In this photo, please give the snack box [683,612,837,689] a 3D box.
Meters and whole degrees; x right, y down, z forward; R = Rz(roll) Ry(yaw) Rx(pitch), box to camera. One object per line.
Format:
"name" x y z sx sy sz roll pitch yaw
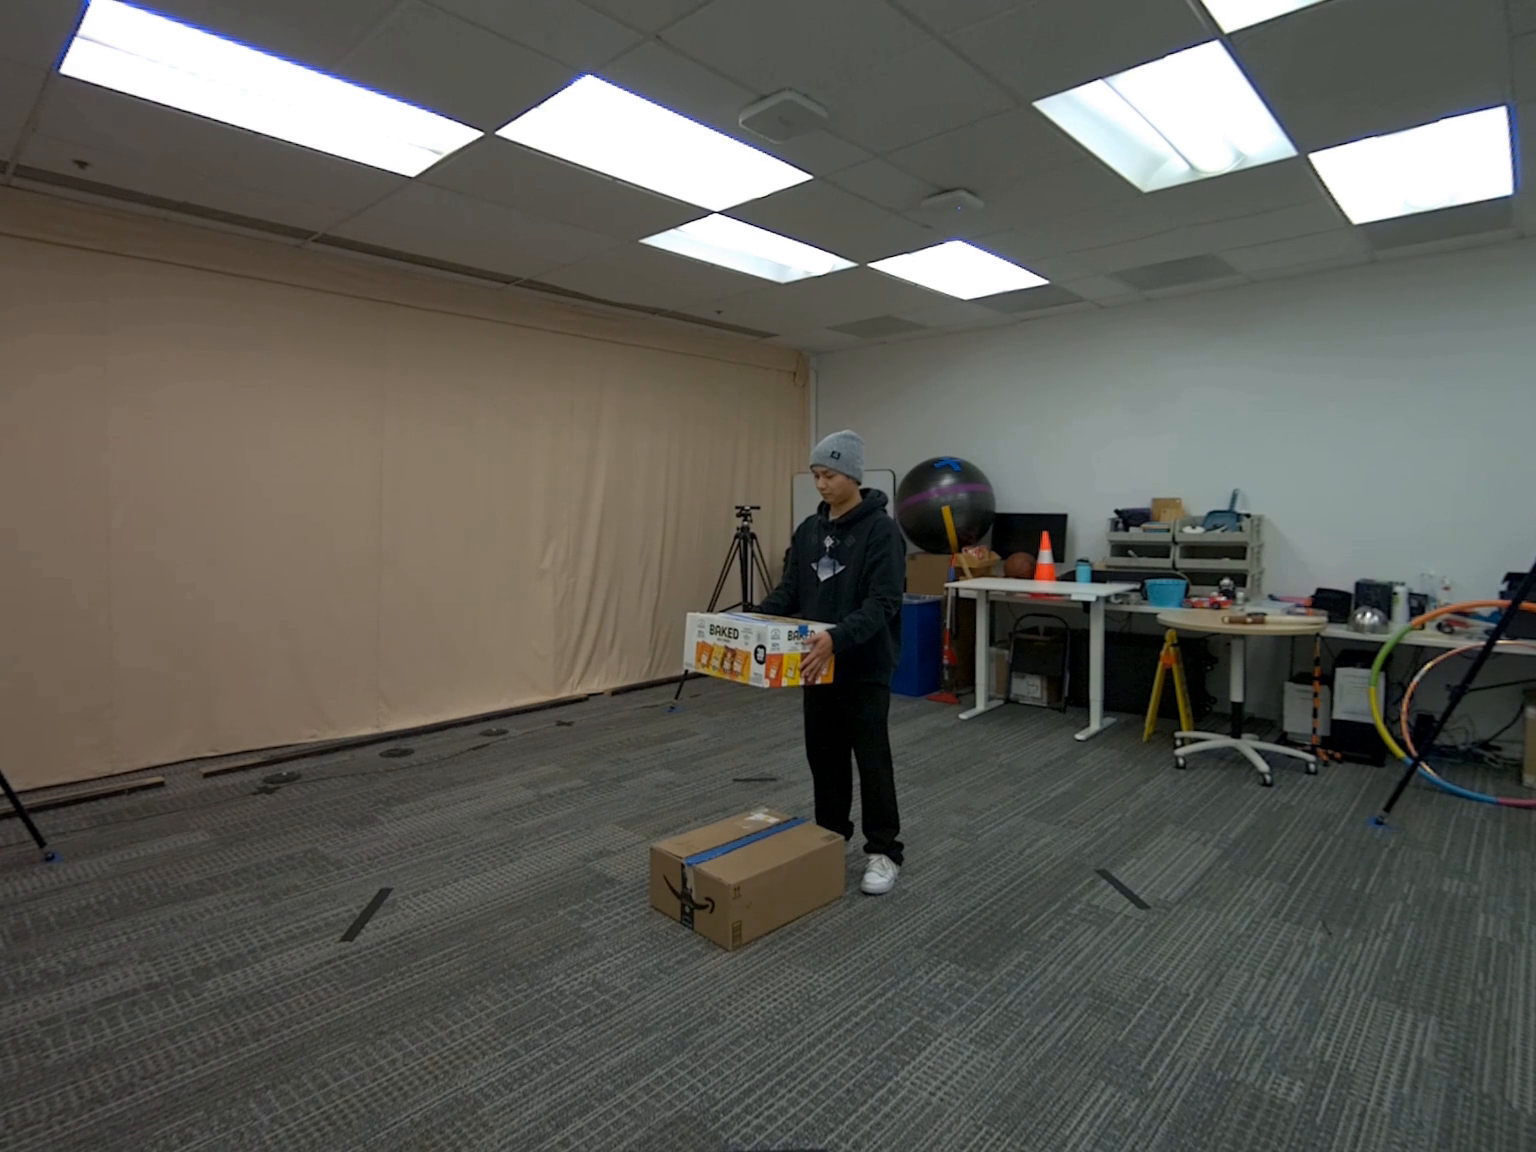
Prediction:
"snack box" -0.032 0.251 2.953 0.329 0.206 0.419 4 1 -43
